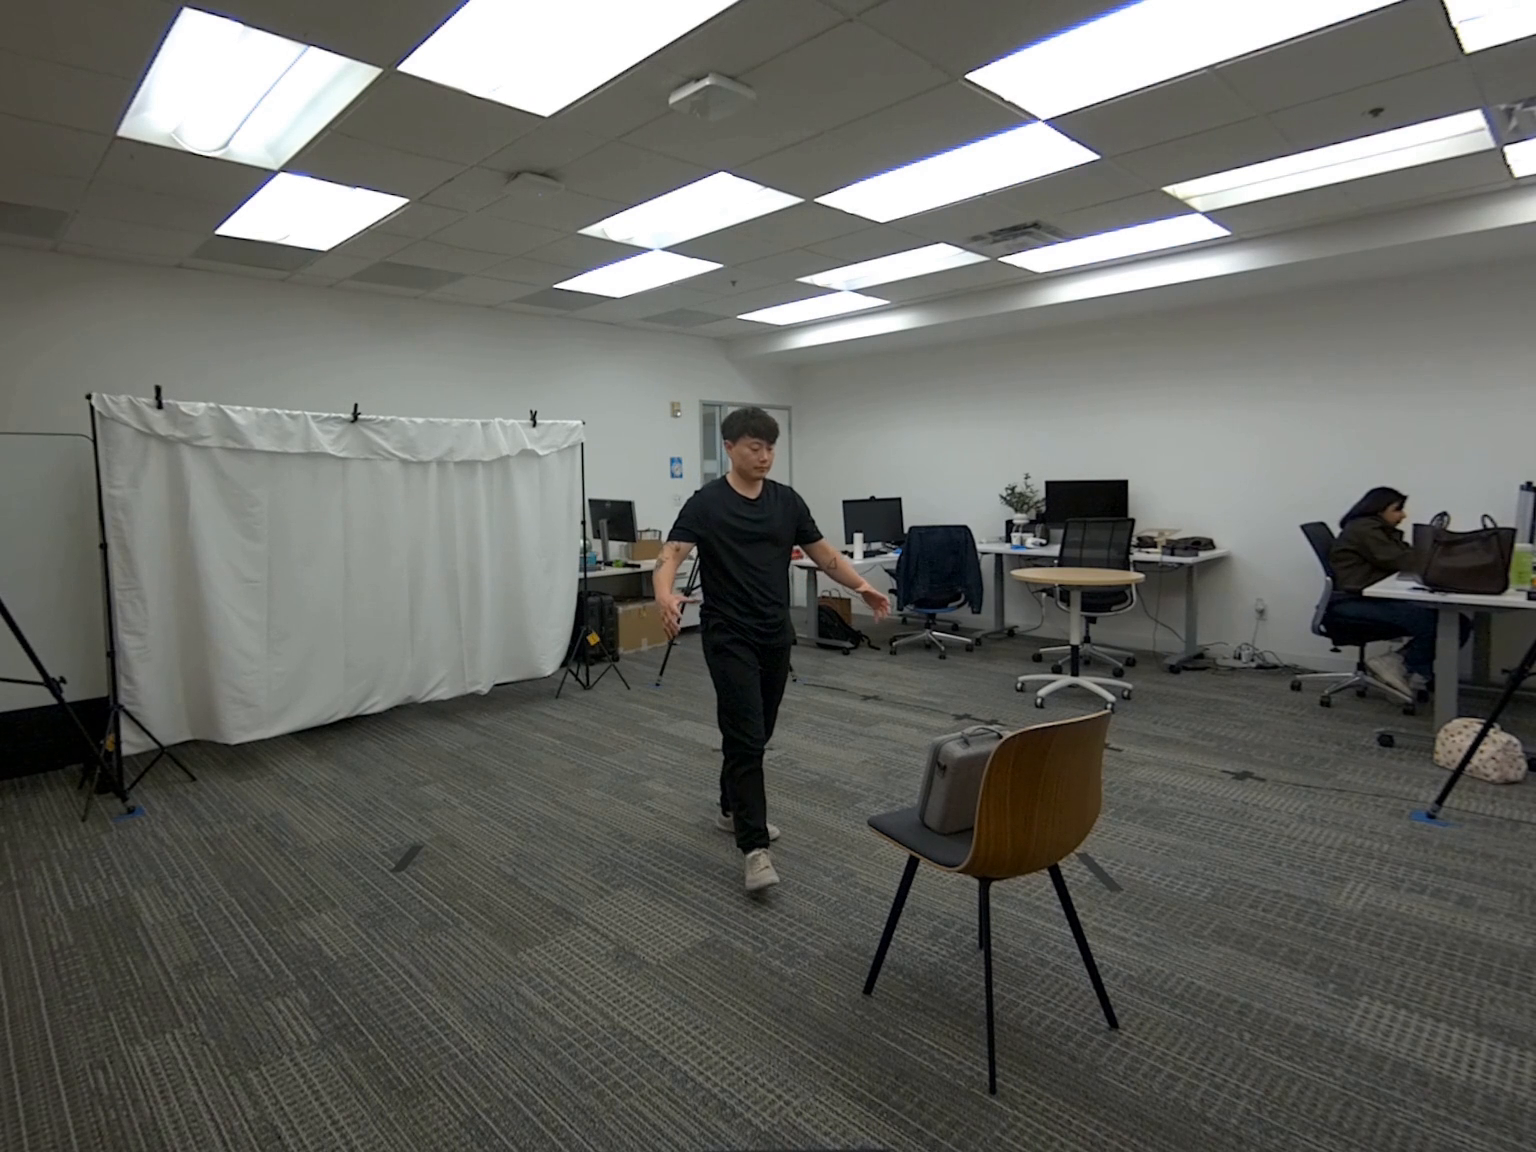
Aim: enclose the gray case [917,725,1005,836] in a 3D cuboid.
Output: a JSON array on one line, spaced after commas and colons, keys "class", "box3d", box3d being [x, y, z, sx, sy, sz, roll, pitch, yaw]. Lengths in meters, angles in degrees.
[{"class": "gray case", "box3d": [0.541, 0.527, 2.228, 0.252, 0.257, 0.108, -2, 18, -24]}]
